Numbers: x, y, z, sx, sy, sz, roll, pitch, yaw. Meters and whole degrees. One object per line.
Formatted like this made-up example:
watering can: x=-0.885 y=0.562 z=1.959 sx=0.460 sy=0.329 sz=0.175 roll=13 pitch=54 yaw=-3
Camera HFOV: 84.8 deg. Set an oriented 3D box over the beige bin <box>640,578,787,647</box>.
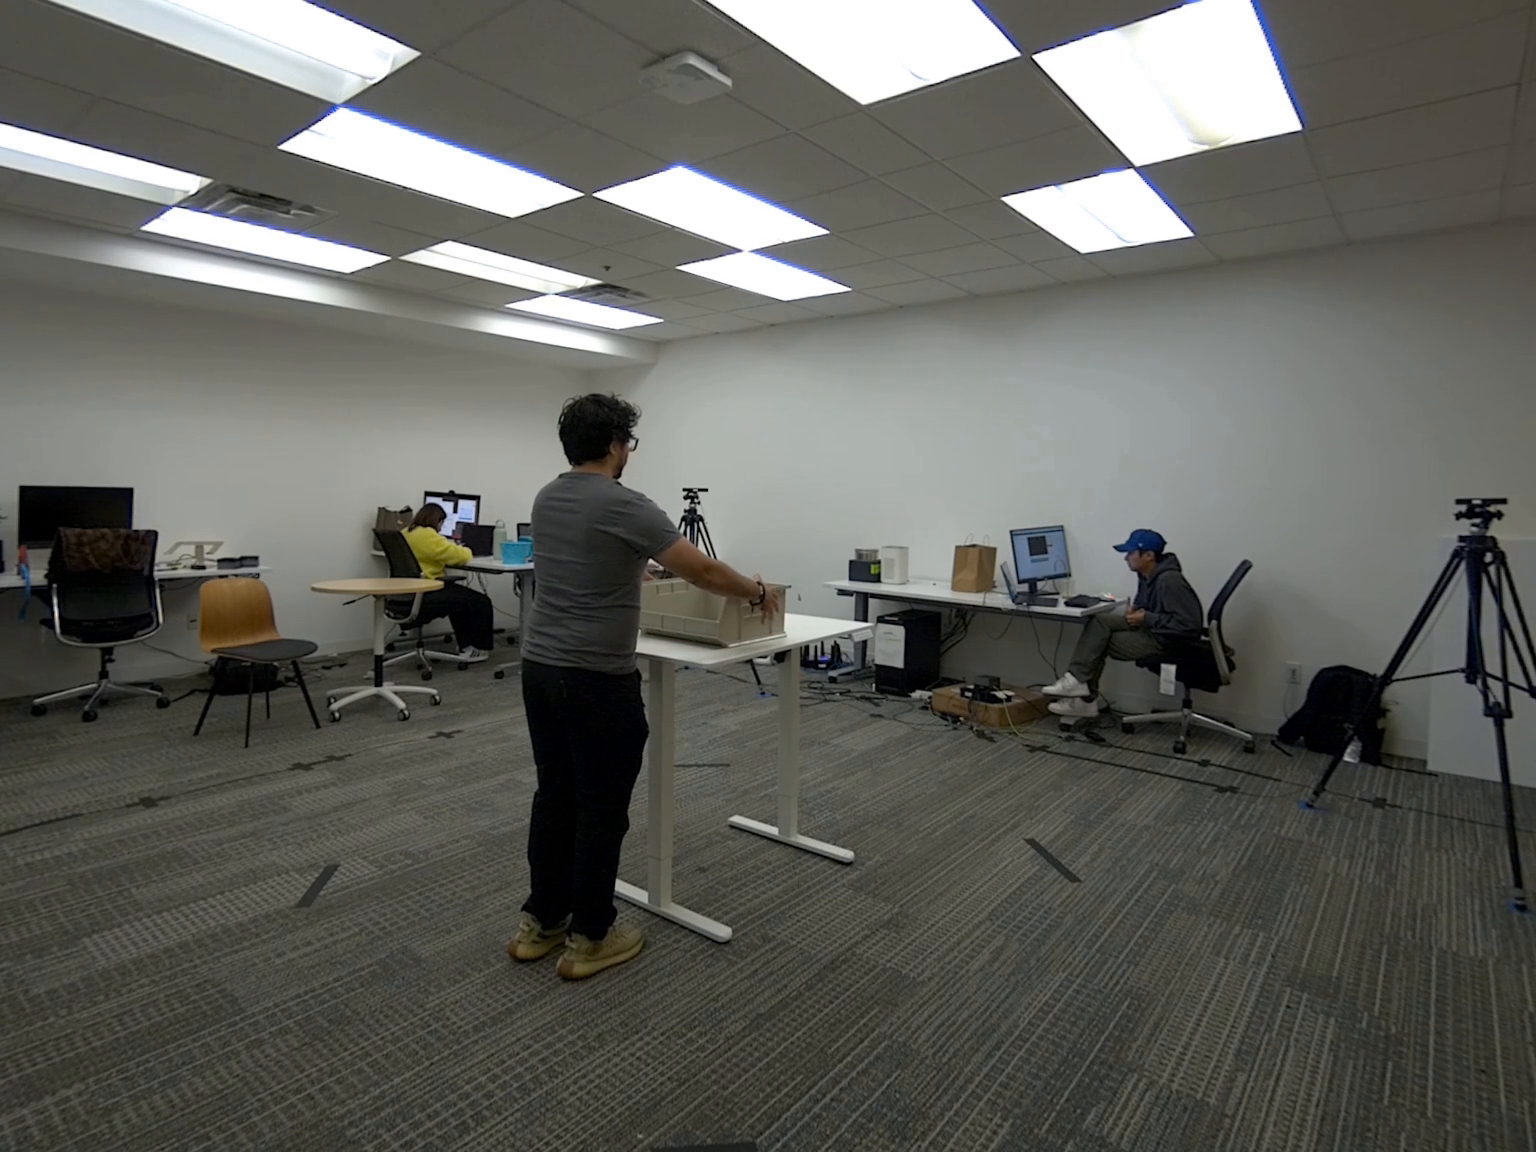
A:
beige bin: x=-0.209 y=0.119 z=2.934 sx=0.436 sy=0.188 sz=0.366 roll=4 pitch=4 yaw=40
